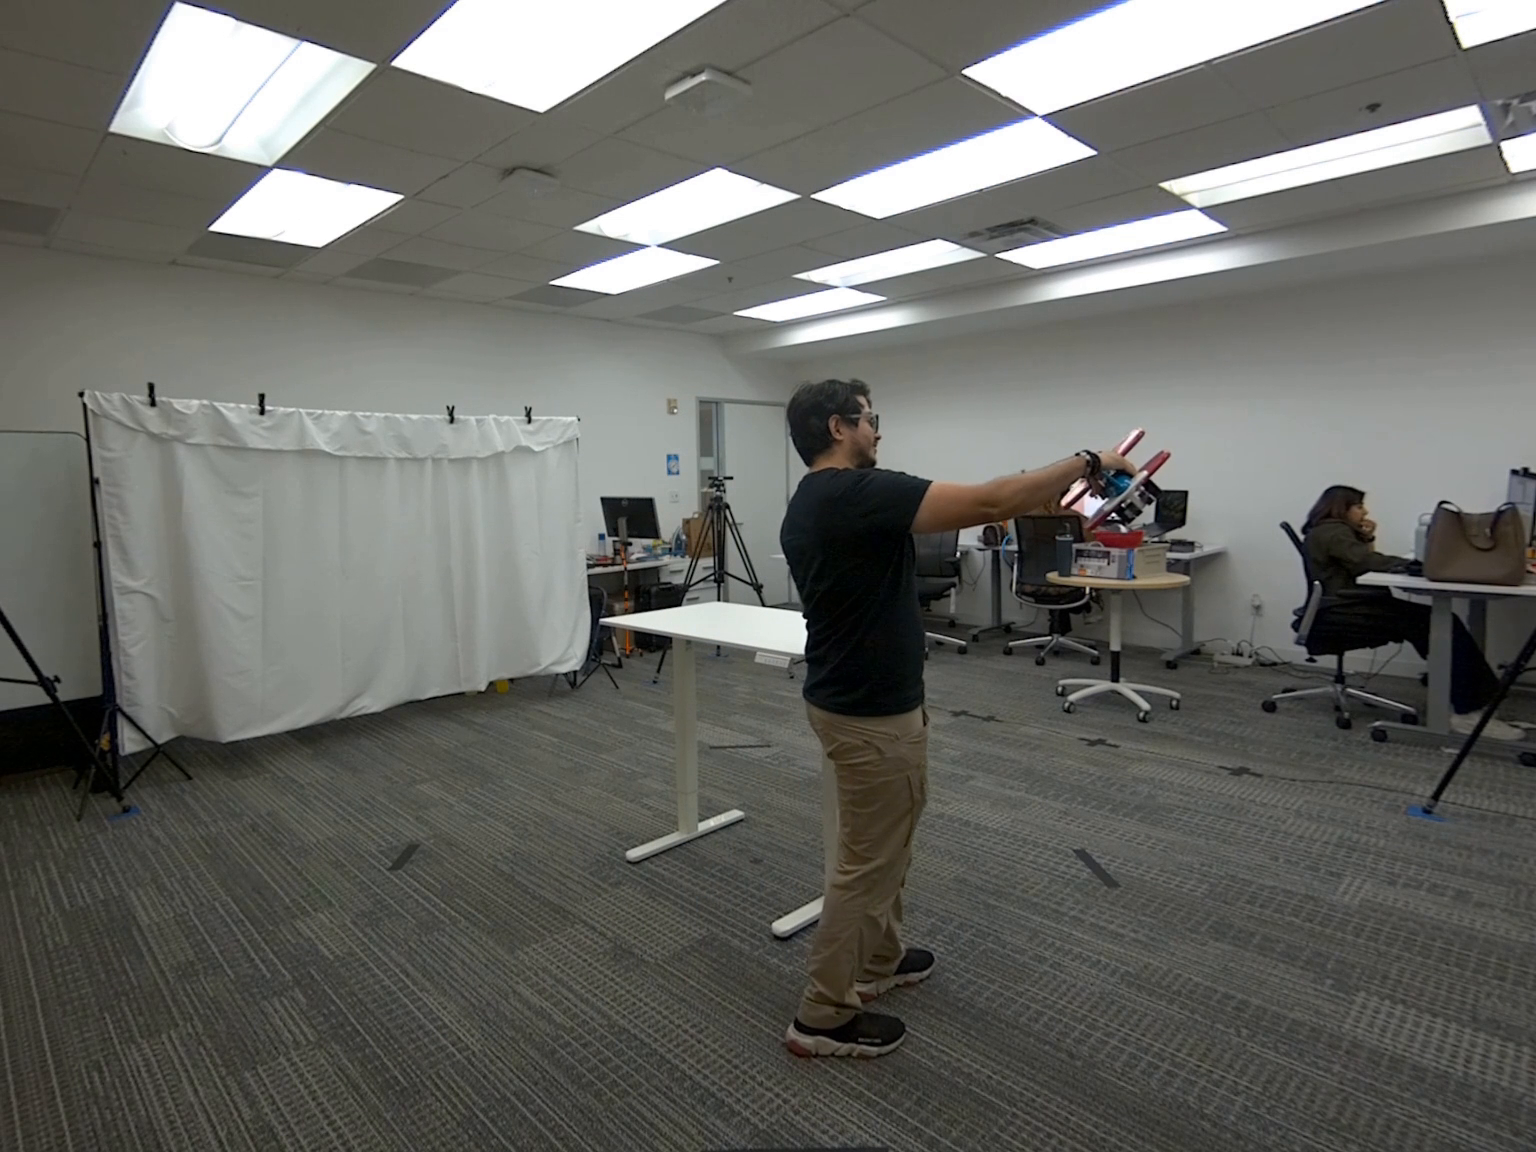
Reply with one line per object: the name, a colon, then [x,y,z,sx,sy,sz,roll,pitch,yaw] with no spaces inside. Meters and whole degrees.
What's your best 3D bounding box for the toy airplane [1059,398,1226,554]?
toy airplane: [0.856,-0.225,1.992,0.159,0.251,0.255,43,-7,12]
